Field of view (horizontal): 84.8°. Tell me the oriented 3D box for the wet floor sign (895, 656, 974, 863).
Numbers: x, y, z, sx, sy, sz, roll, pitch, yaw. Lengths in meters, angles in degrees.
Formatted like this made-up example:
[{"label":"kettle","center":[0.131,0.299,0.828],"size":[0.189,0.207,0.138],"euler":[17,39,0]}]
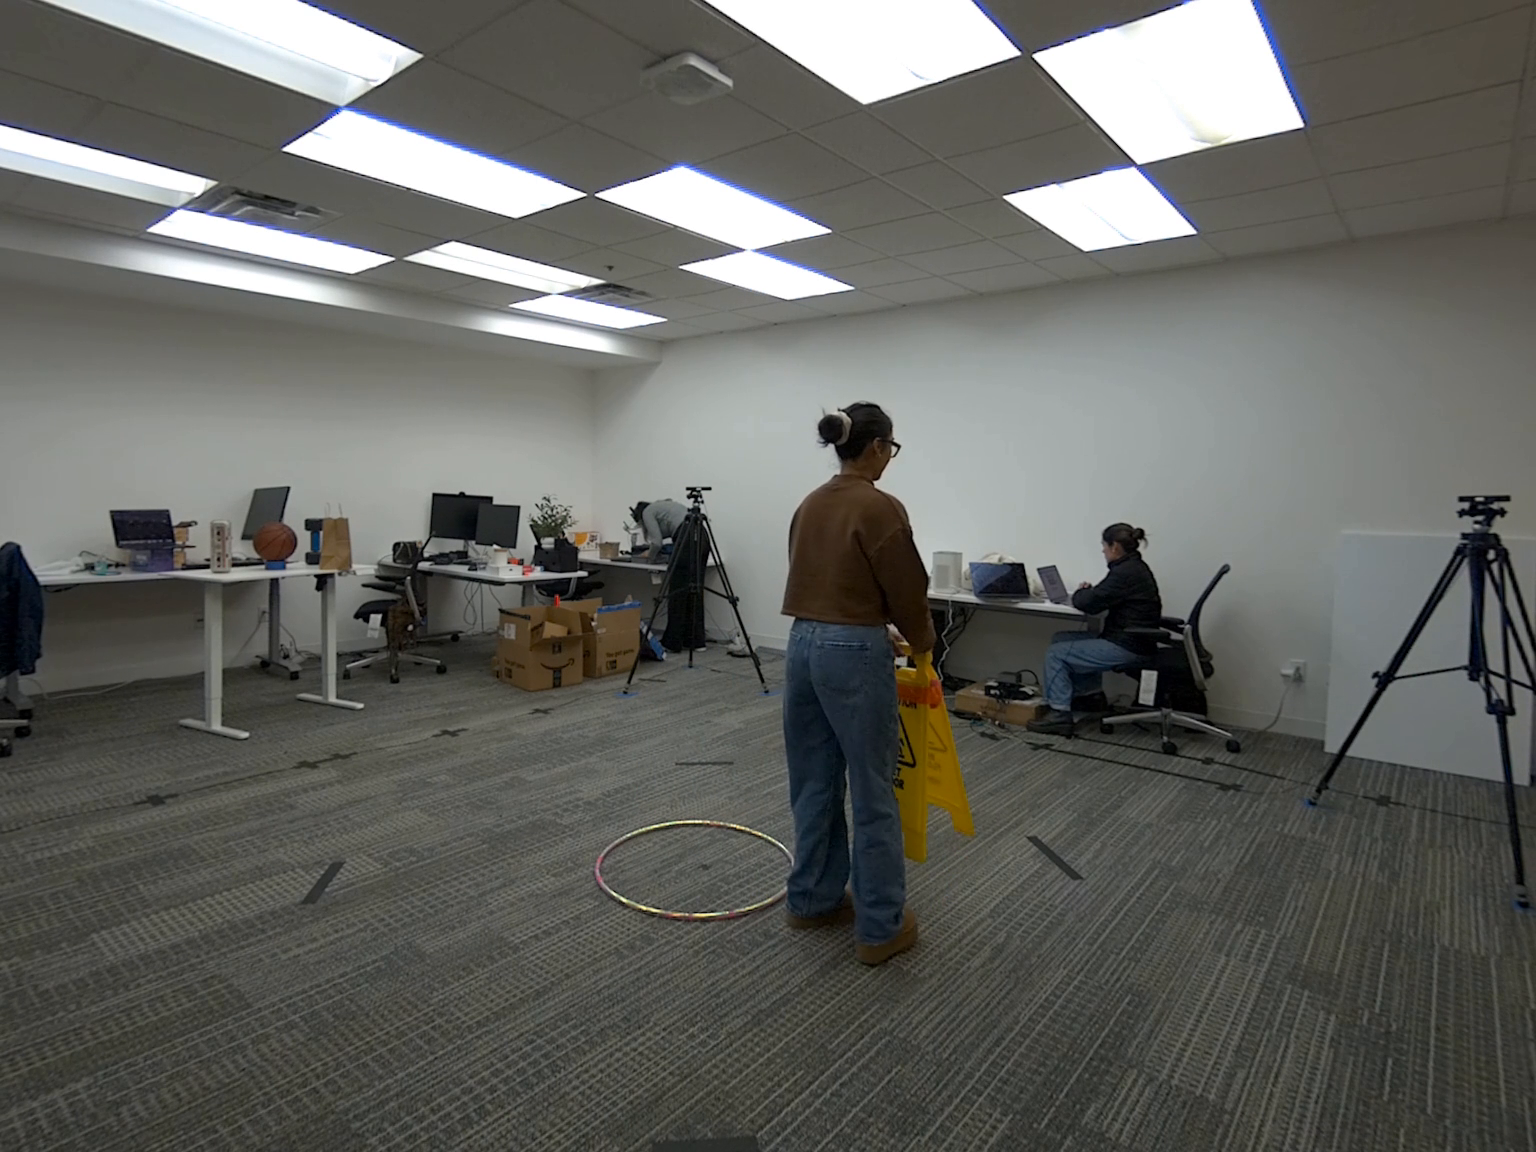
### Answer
[{"label":"wet floor sign","center":[0.455,0.544,2.797],"size":[0.282,0.643,0.291],"euler":[-7,6,-40]}]
